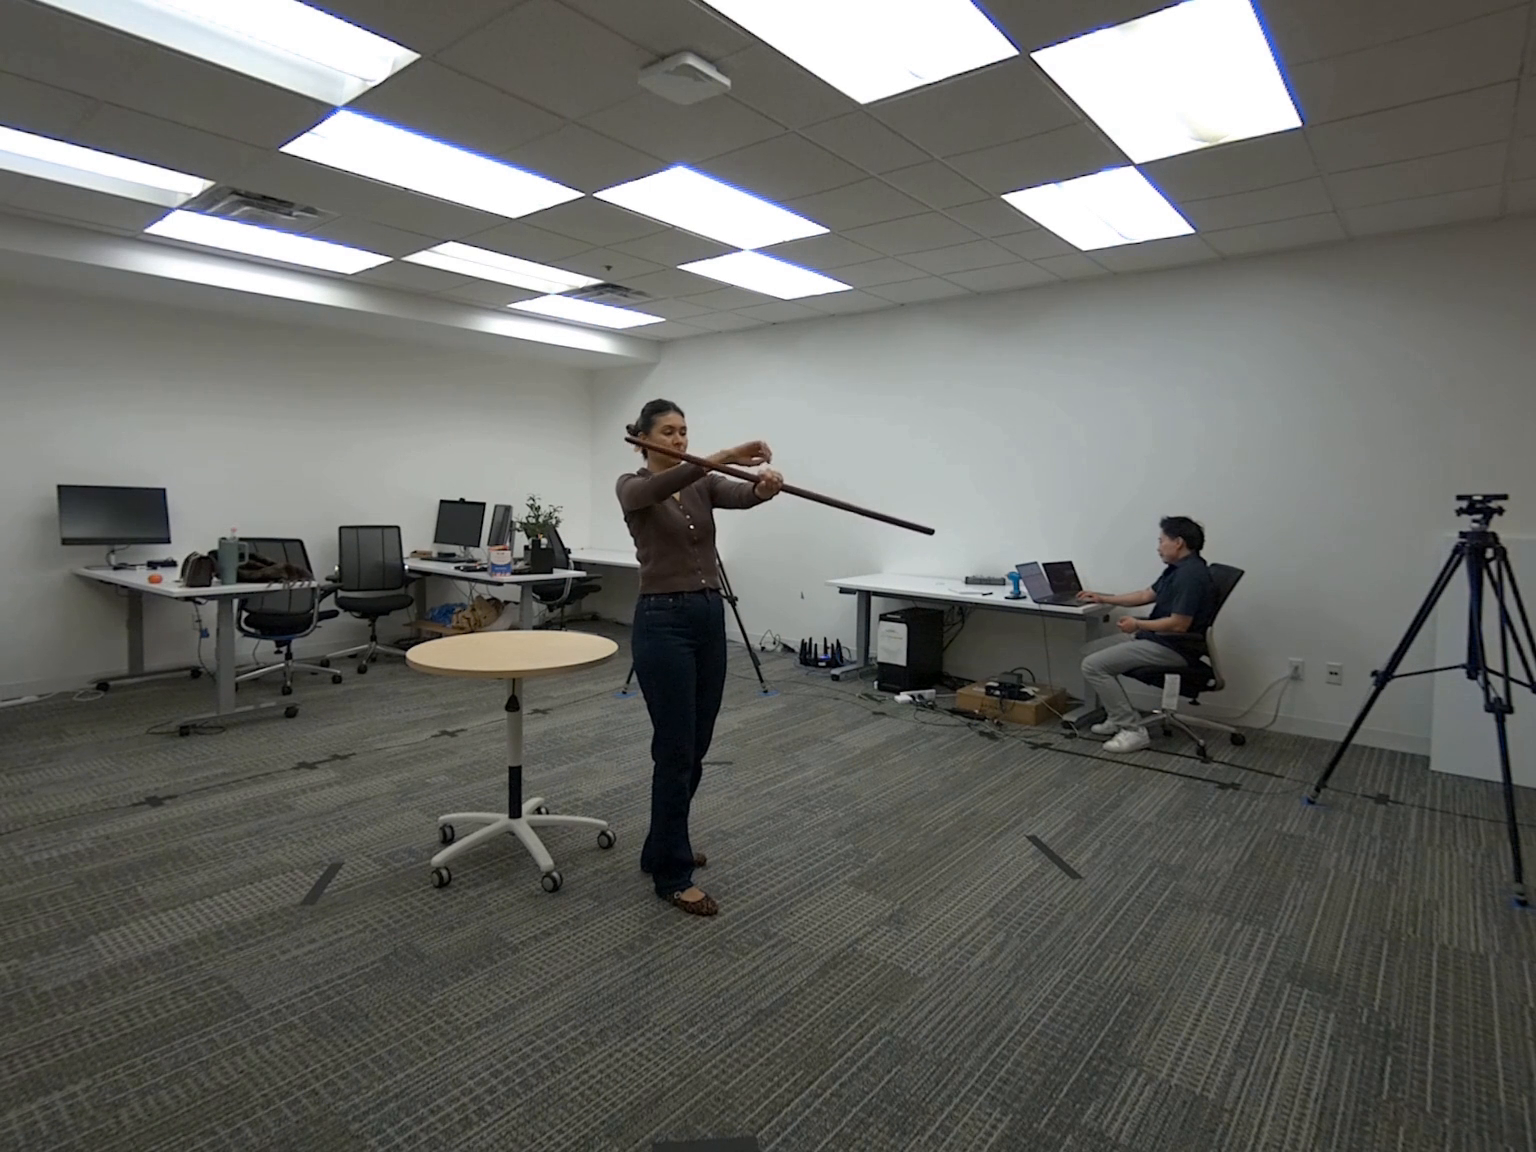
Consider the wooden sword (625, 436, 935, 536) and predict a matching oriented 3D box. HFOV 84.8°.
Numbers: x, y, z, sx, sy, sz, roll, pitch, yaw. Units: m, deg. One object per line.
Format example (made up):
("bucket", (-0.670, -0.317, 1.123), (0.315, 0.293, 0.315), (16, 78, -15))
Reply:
("wooden sword", (0.050, -0.257, 2.553), (1.003, 0.024, 0.052), (15, -6, -17))
